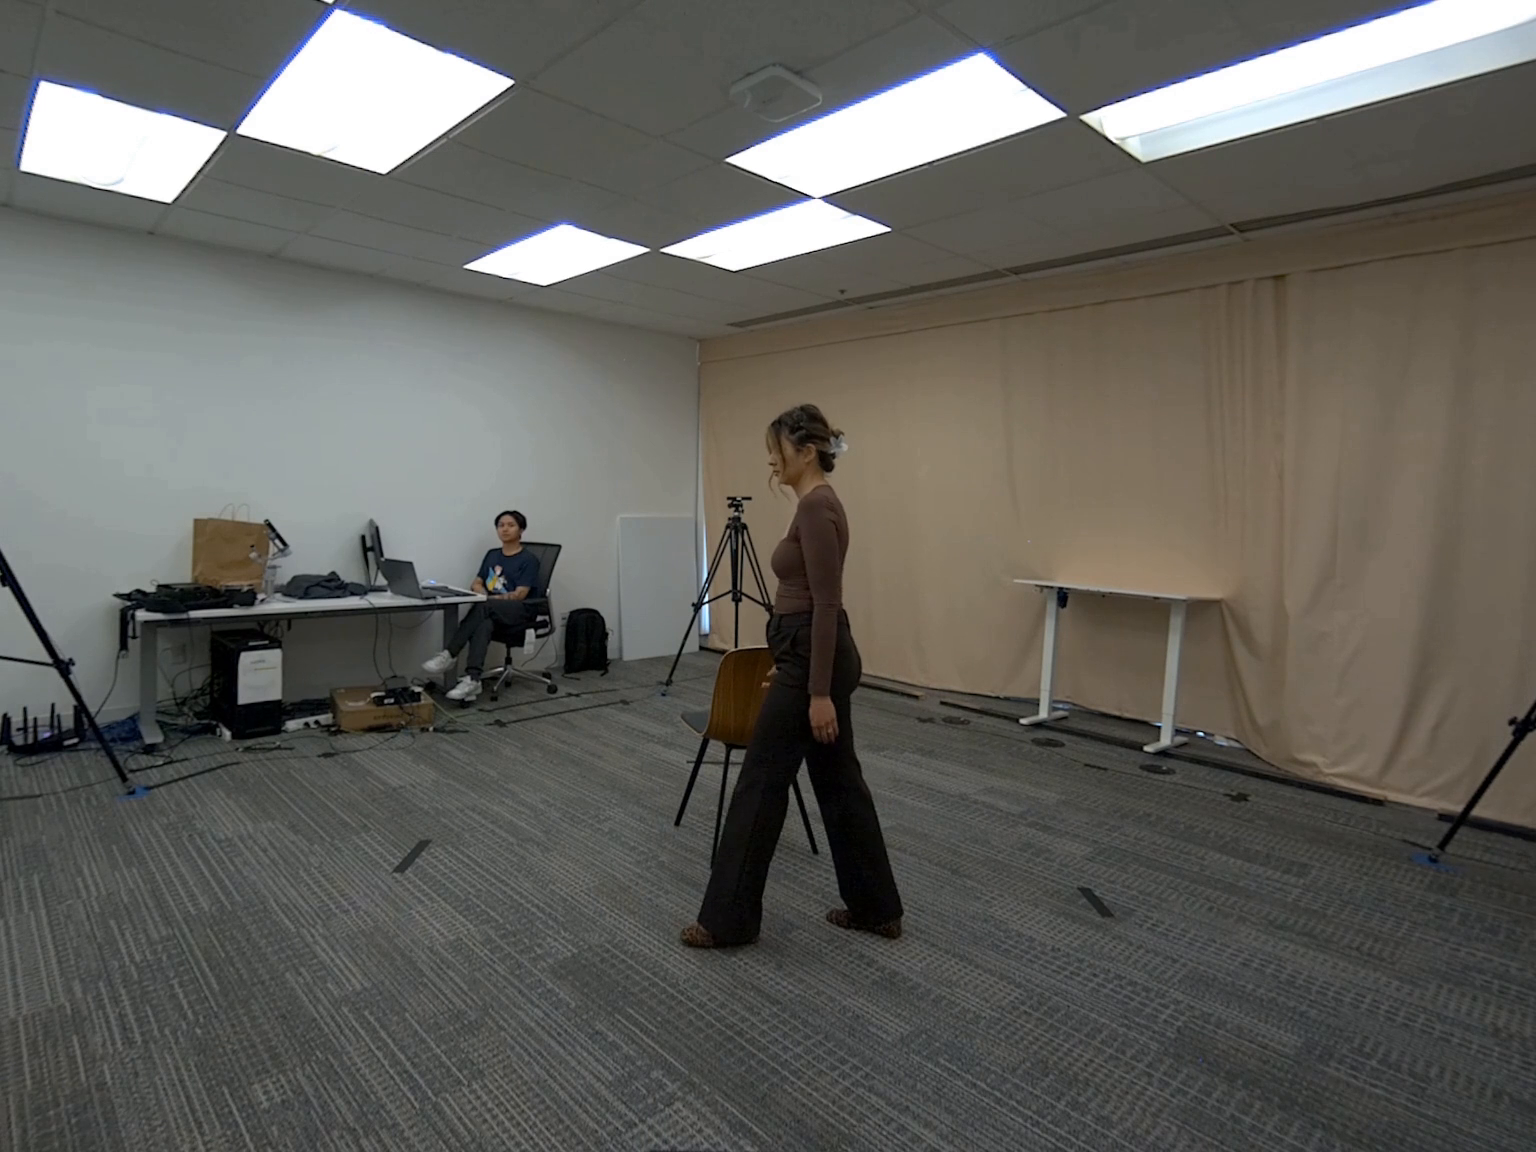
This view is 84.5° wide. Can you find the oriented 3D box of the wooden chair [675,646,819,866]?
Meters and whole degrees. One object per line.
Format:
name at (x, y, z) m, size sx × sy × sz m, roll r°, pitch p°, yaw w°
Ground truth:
wooden chair at (-0.099, 0.653, 3.419) m, size 0.470 × 0.873 × 0.534 m, roll 0°, pitch 8°, yaw -23°
